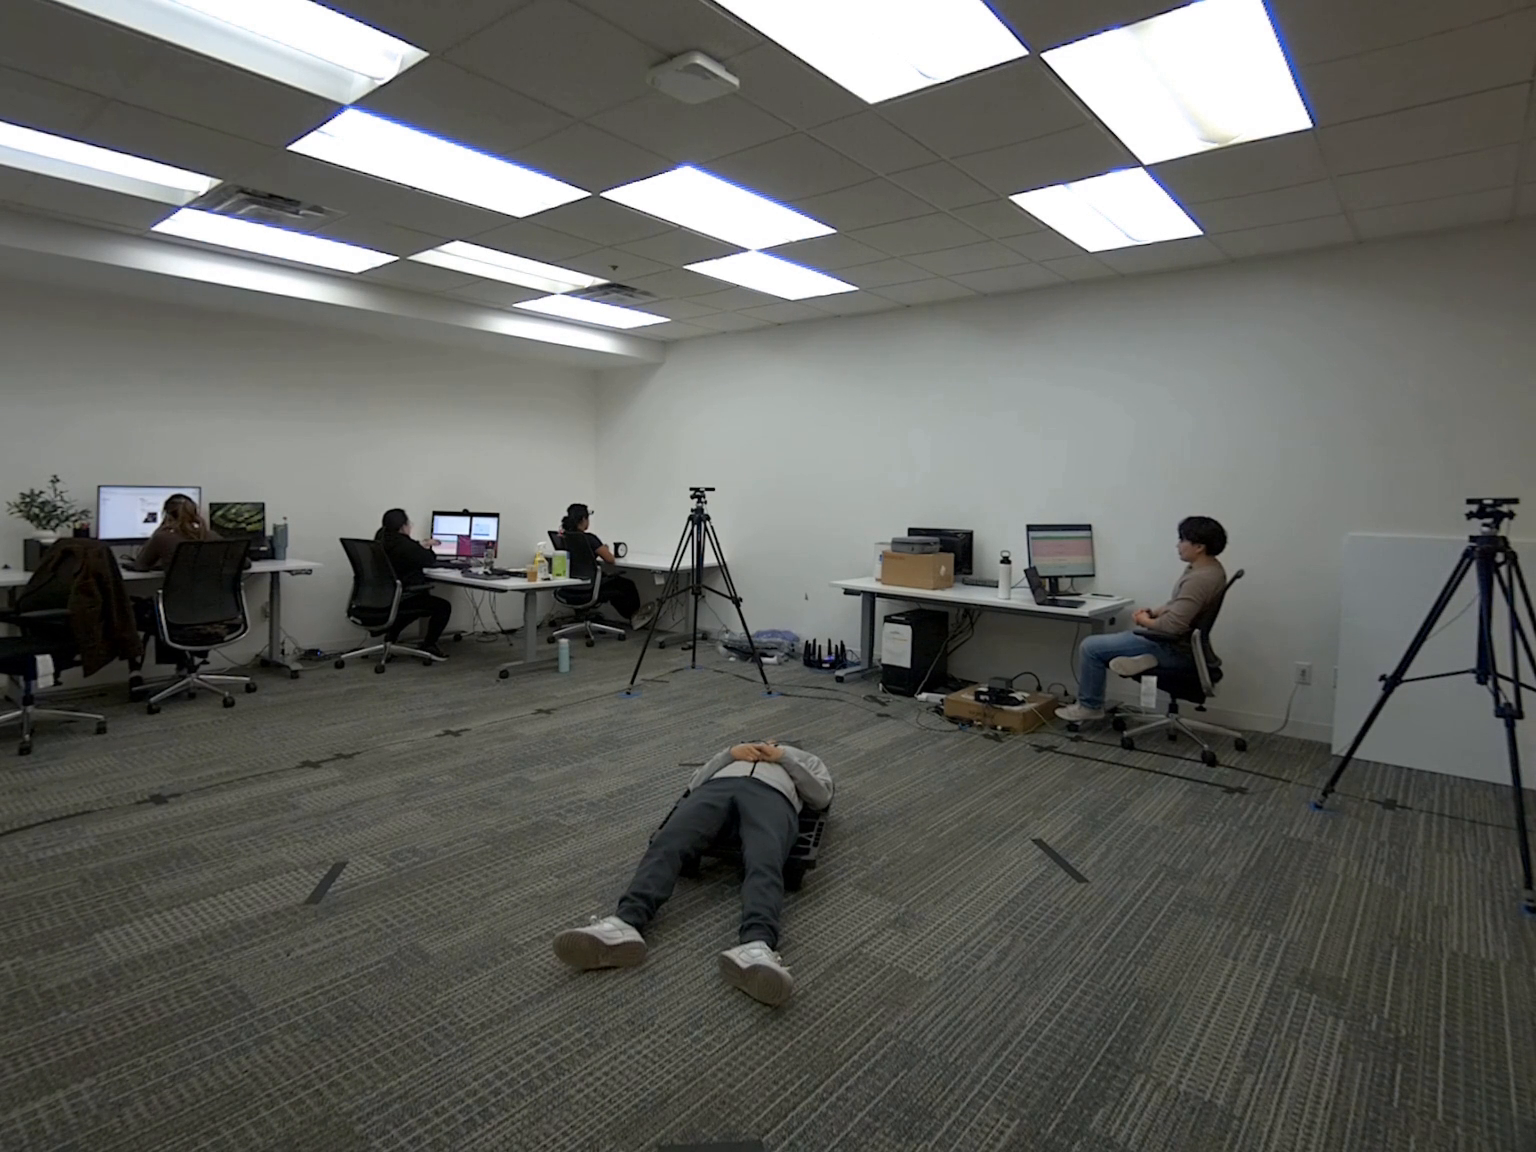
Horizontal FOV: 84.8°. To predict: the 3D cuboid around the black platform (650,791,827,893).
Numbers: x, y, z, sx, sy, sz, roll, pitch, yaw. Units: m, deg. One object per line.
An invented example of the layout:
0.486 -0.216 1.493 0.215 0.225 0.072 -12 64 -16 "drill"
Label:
-0.076 0.977 3.351 0.614 0.143 0.796 2 4 11 "black platform"
